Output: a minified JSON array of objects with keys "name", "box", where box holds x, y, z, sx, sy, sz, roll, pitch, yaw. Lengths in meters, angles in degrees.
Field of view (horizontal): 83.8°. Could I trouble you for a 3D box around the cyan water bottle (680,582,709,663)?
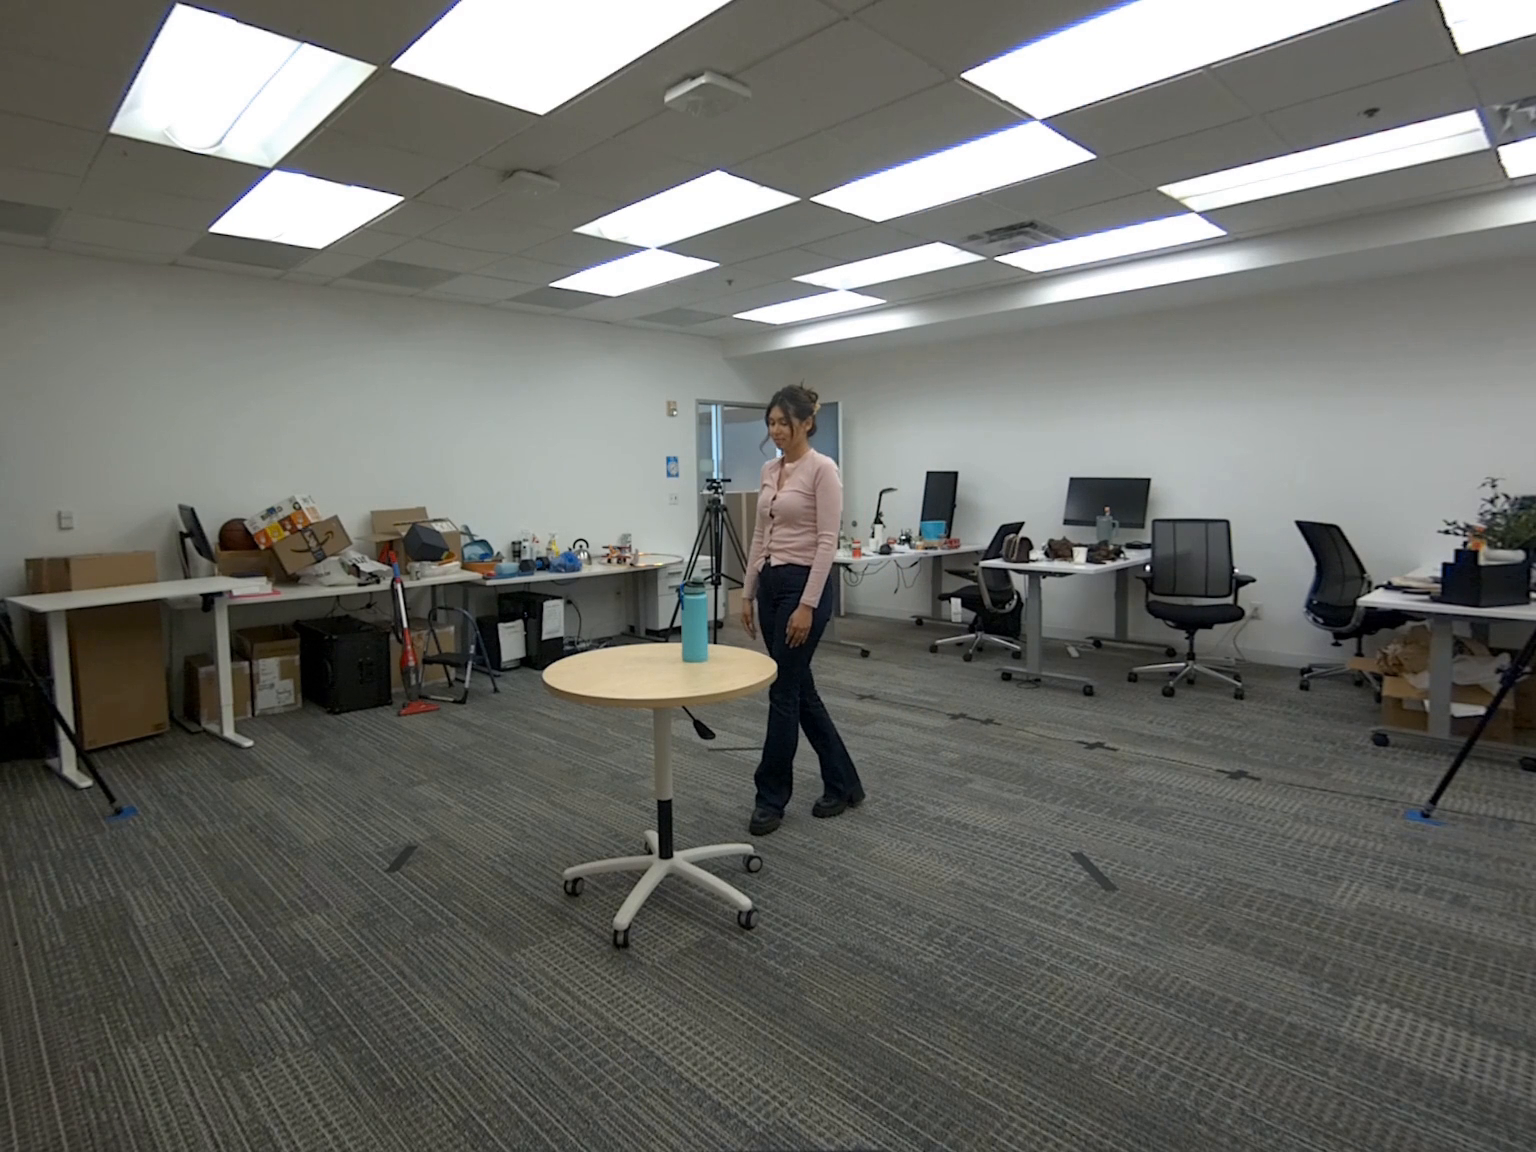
[{"name":"cyan water bottle","box":[-0.253,0.148,2.896,0.092,0.282,0.093,-2,5,-1]}]
